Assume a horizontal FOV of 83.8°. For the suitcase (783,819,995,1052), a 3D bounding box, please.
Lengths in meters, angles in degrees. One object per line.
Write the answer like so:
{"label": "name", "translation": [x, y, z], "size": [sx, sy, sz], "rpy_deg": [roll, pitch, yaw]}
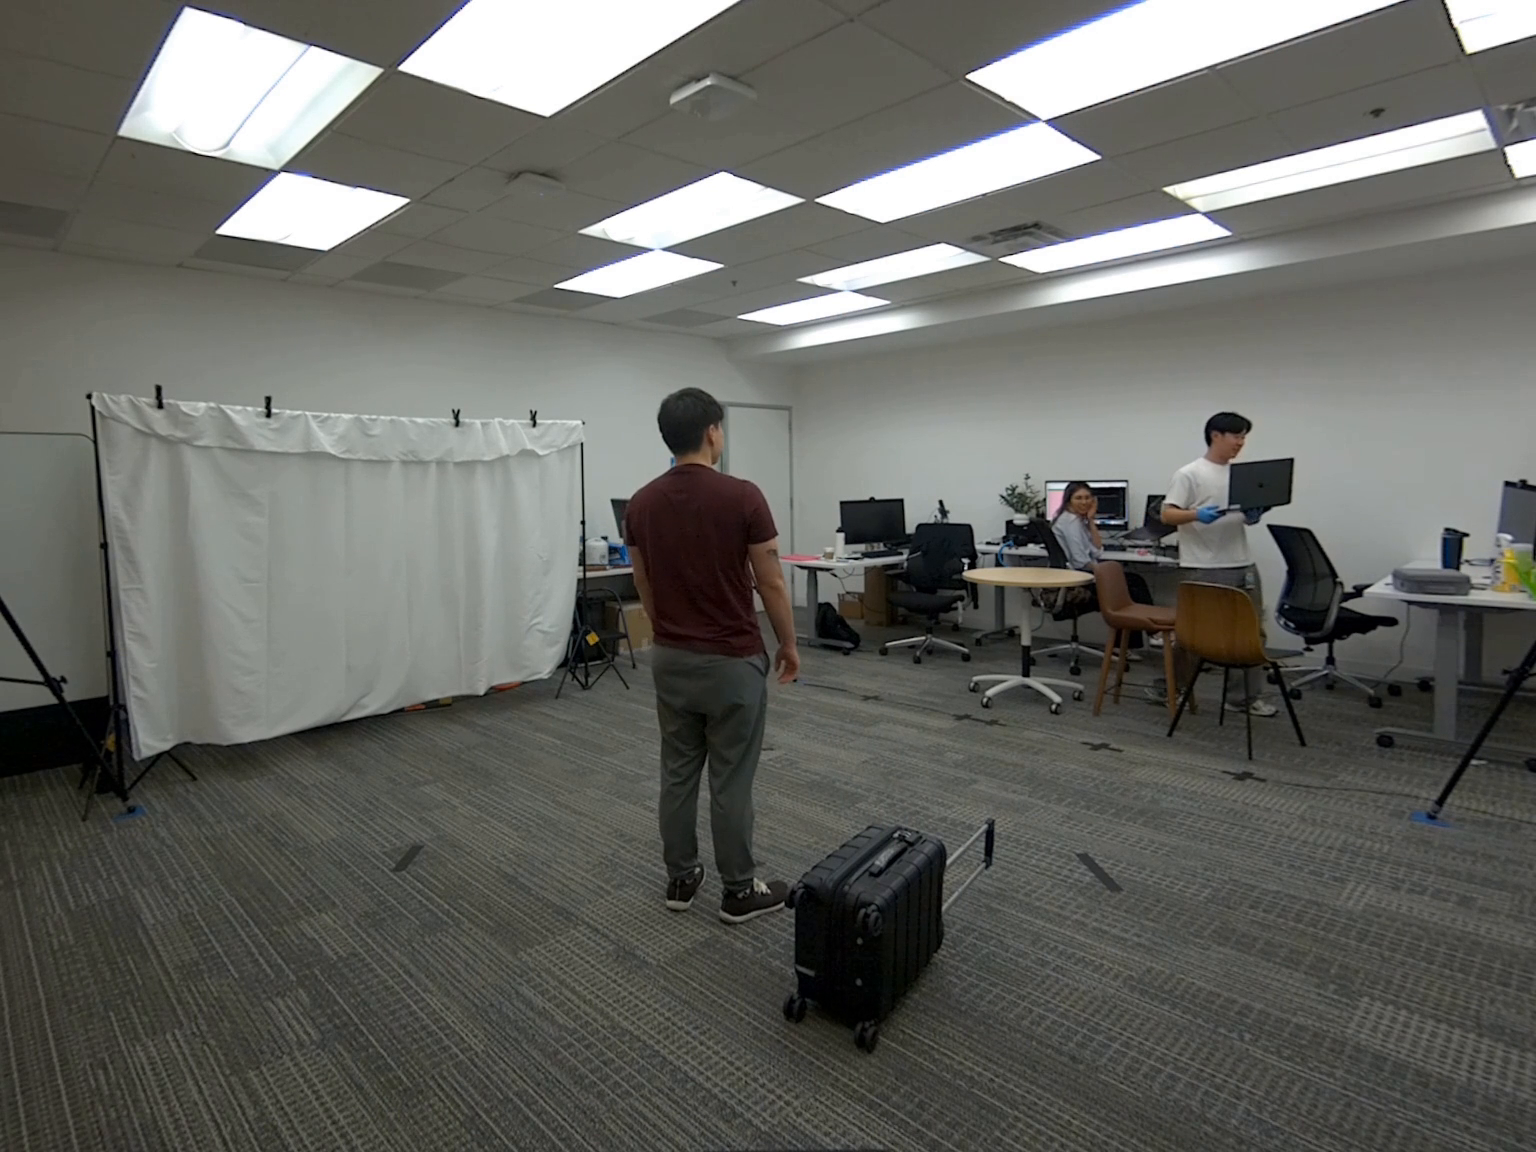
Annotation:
{"label": "suitcase", "translation": [0.403, 0.919, 2.520], "size": [0.264, 0.382, 0.957], "rpy_deg": [4, 8, 31]}
